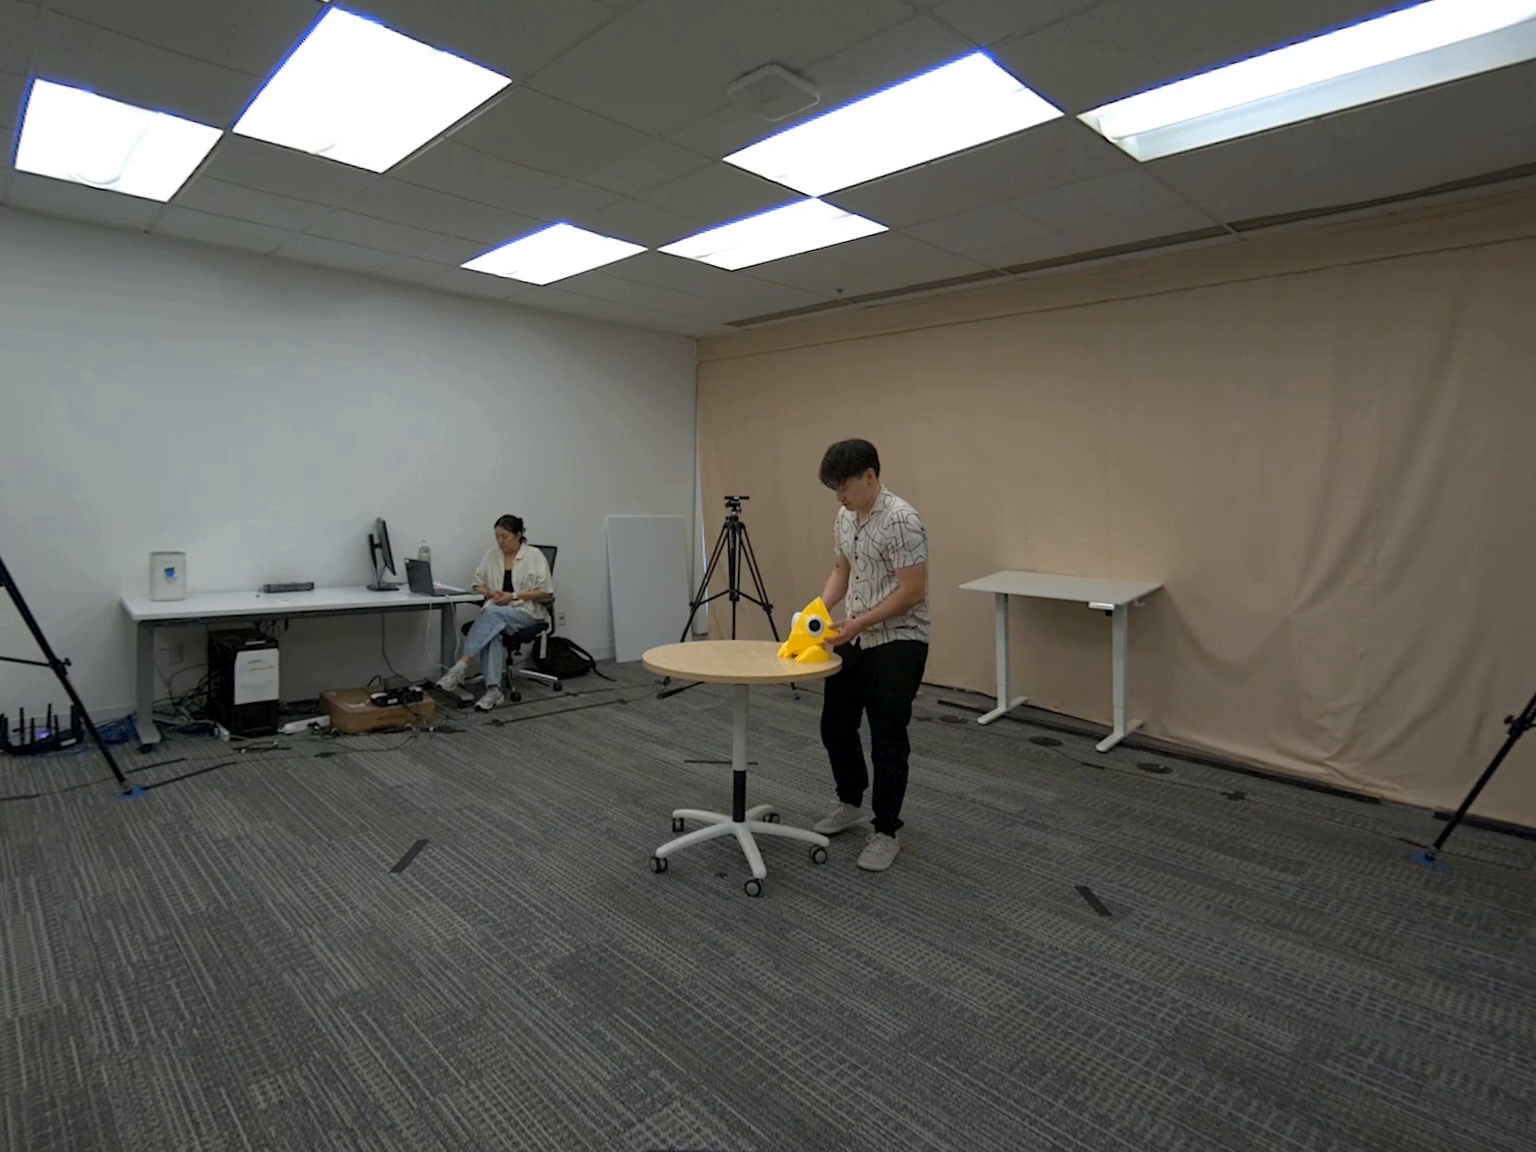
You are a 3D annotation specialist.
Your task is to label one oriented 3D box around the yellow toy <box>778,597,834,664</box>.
[{"bbox_3d":[0.143,0.200,3.232,0.189,0.230,0.210,-2,5,-33],"label":"yellow toy"}]
